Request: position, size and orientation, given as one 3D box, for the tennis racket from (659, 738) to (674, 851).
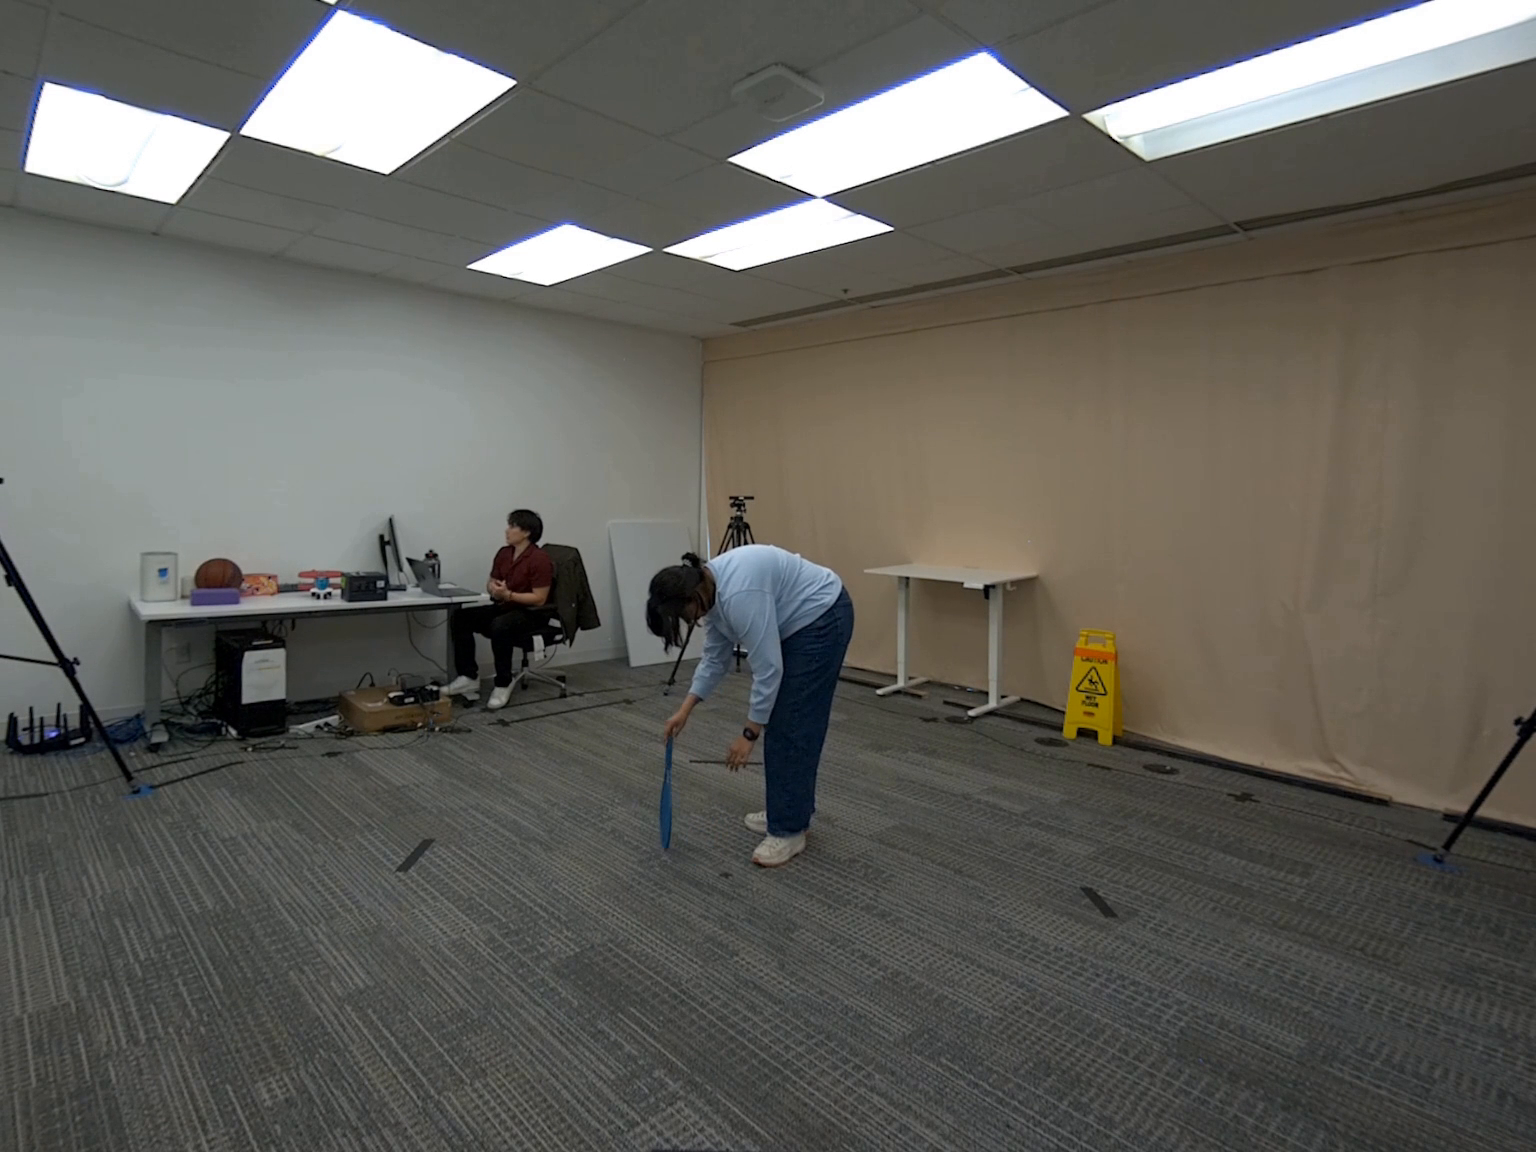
[{"bbox_3d":[-0.392,0.851,3.280,0.031,0.431,0.216,3,5,-12],"label":"tennis racket"}]
